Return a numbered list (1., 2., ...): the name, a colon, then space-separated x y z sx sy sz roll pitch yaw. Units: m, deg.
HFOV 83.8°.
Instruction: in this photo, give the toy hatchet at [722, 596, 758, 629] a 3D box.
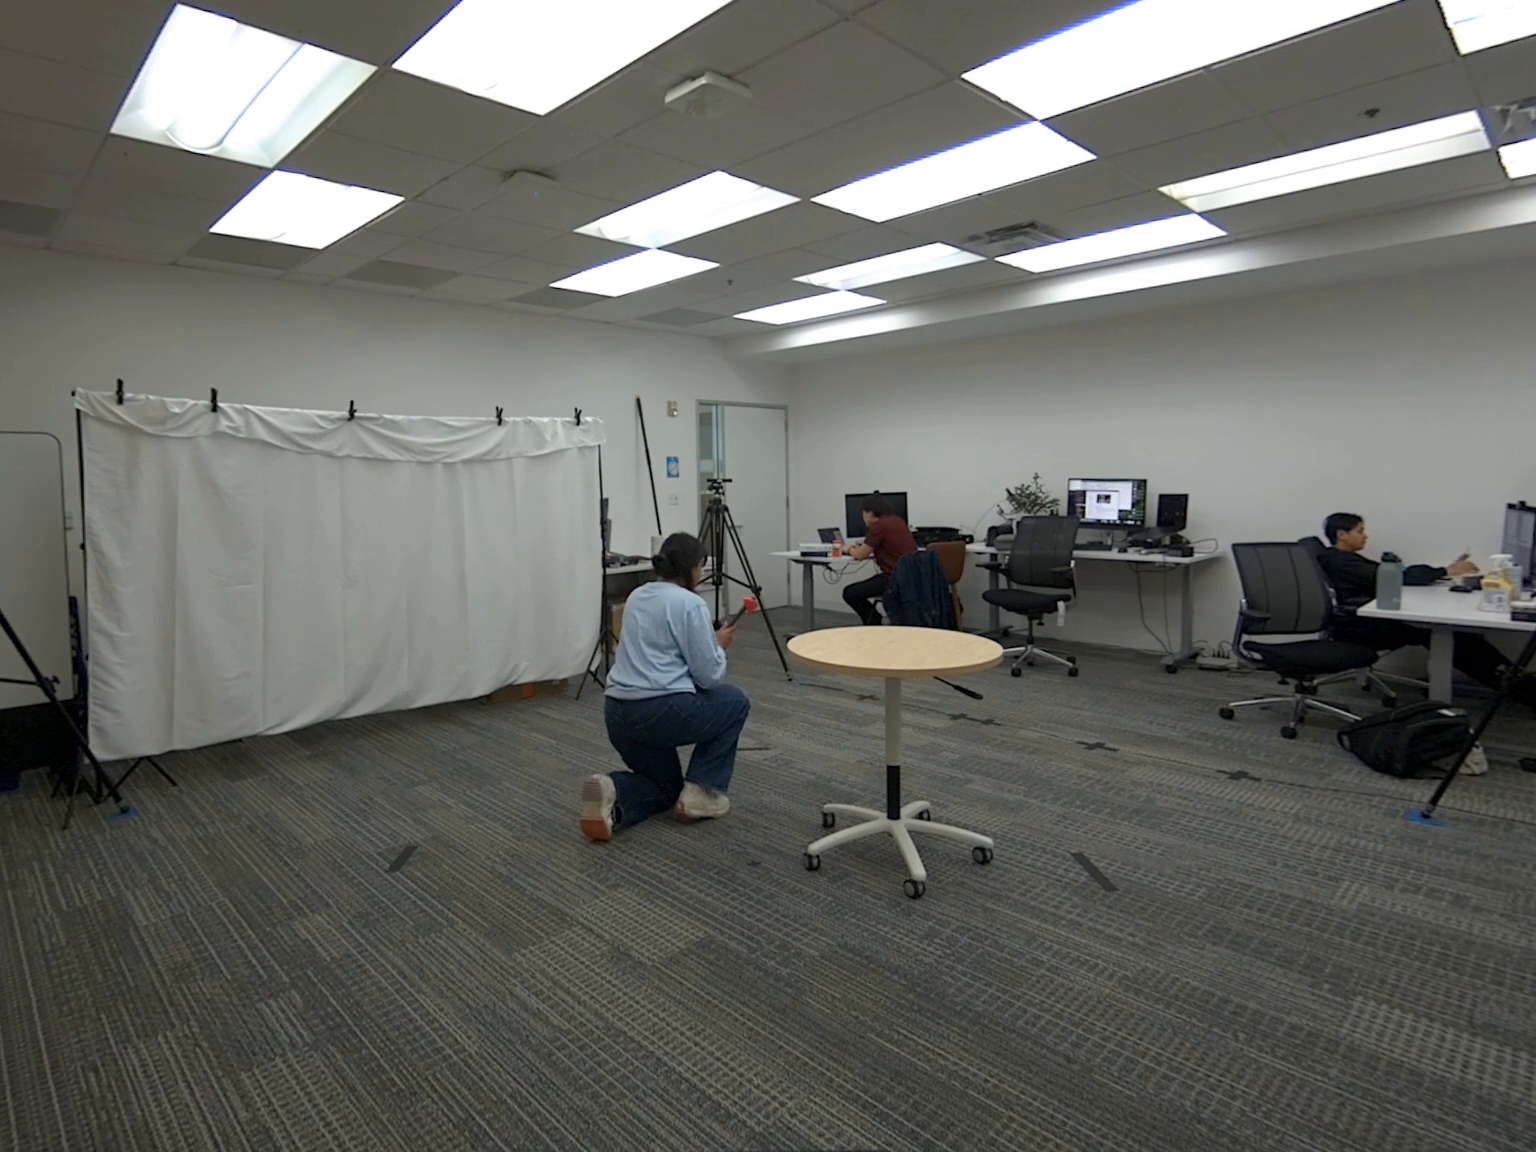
1. toy hatchet: -0.150 0.213 3.729 0.126 0.269 0.031 12 24 -50
